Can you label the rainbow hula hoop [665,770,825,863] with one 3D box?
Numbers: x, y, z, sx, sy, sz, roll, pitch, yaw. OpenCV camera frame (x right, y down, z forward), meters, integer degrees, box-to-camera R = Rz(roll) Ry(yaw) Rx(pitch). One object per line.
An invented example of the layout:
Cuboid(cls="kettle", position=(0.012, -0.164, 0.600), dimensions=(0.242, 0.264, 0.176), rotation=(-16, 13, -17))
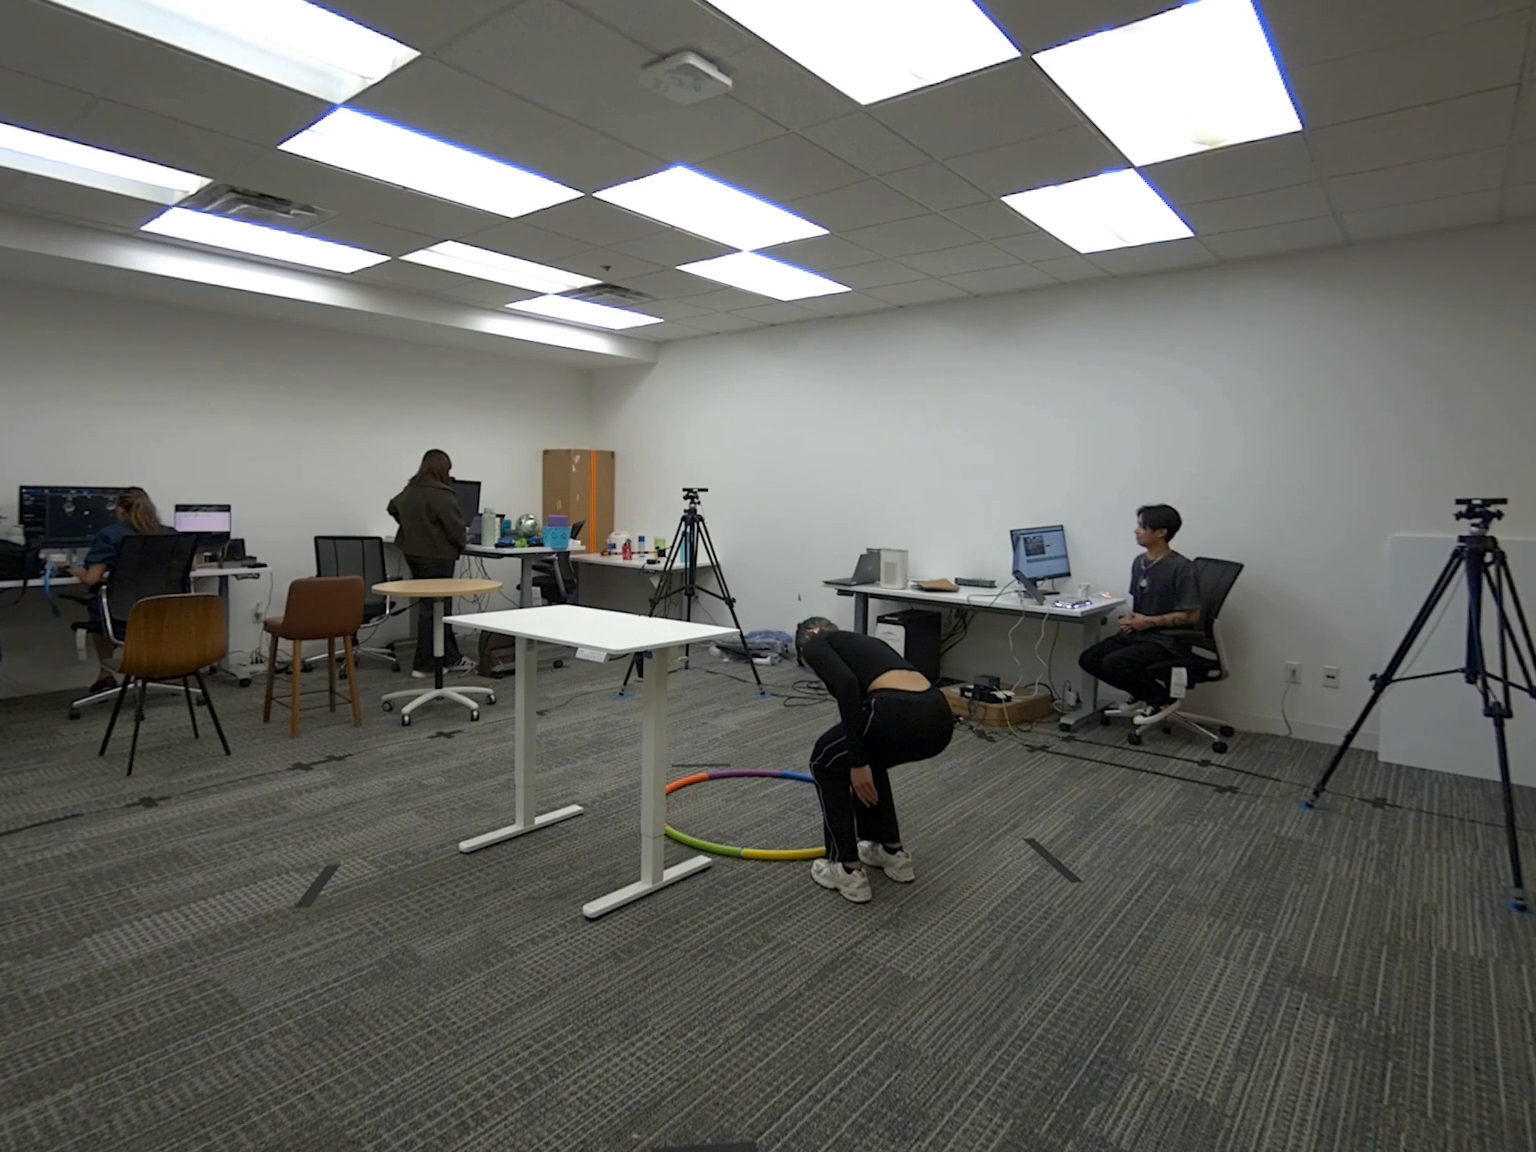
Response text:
Cuboid(cls="rainbow hula hoop", position=(-0.032, 0.988, 3.665), dimensions=(0.978, 0.035, 0.984), rotation=(1, 6, -2))
